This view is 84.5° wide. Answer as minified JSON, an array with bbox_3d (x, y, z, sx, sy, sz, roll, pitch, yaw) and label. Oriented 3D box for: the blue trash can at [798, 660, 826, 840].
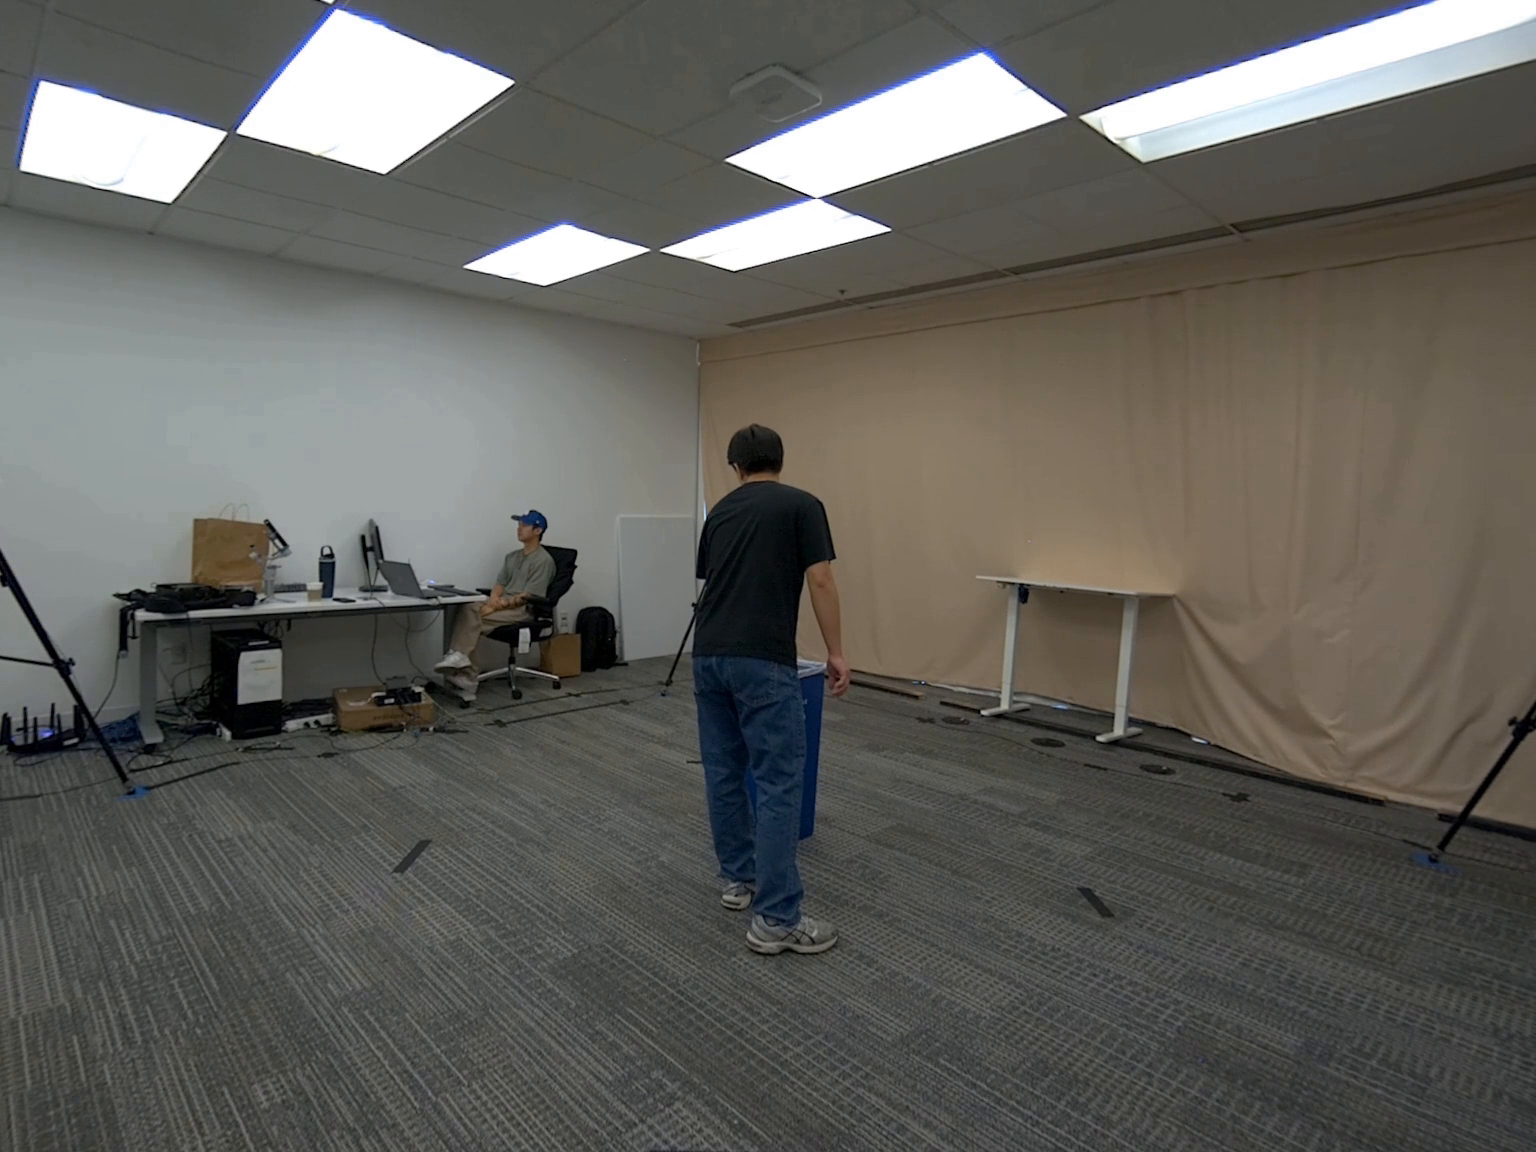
[{"bbox_3d":[-0.003,0.721,3.509,0.388,0.712,0.365,5,5,41],"label":"blue trash can"}]
